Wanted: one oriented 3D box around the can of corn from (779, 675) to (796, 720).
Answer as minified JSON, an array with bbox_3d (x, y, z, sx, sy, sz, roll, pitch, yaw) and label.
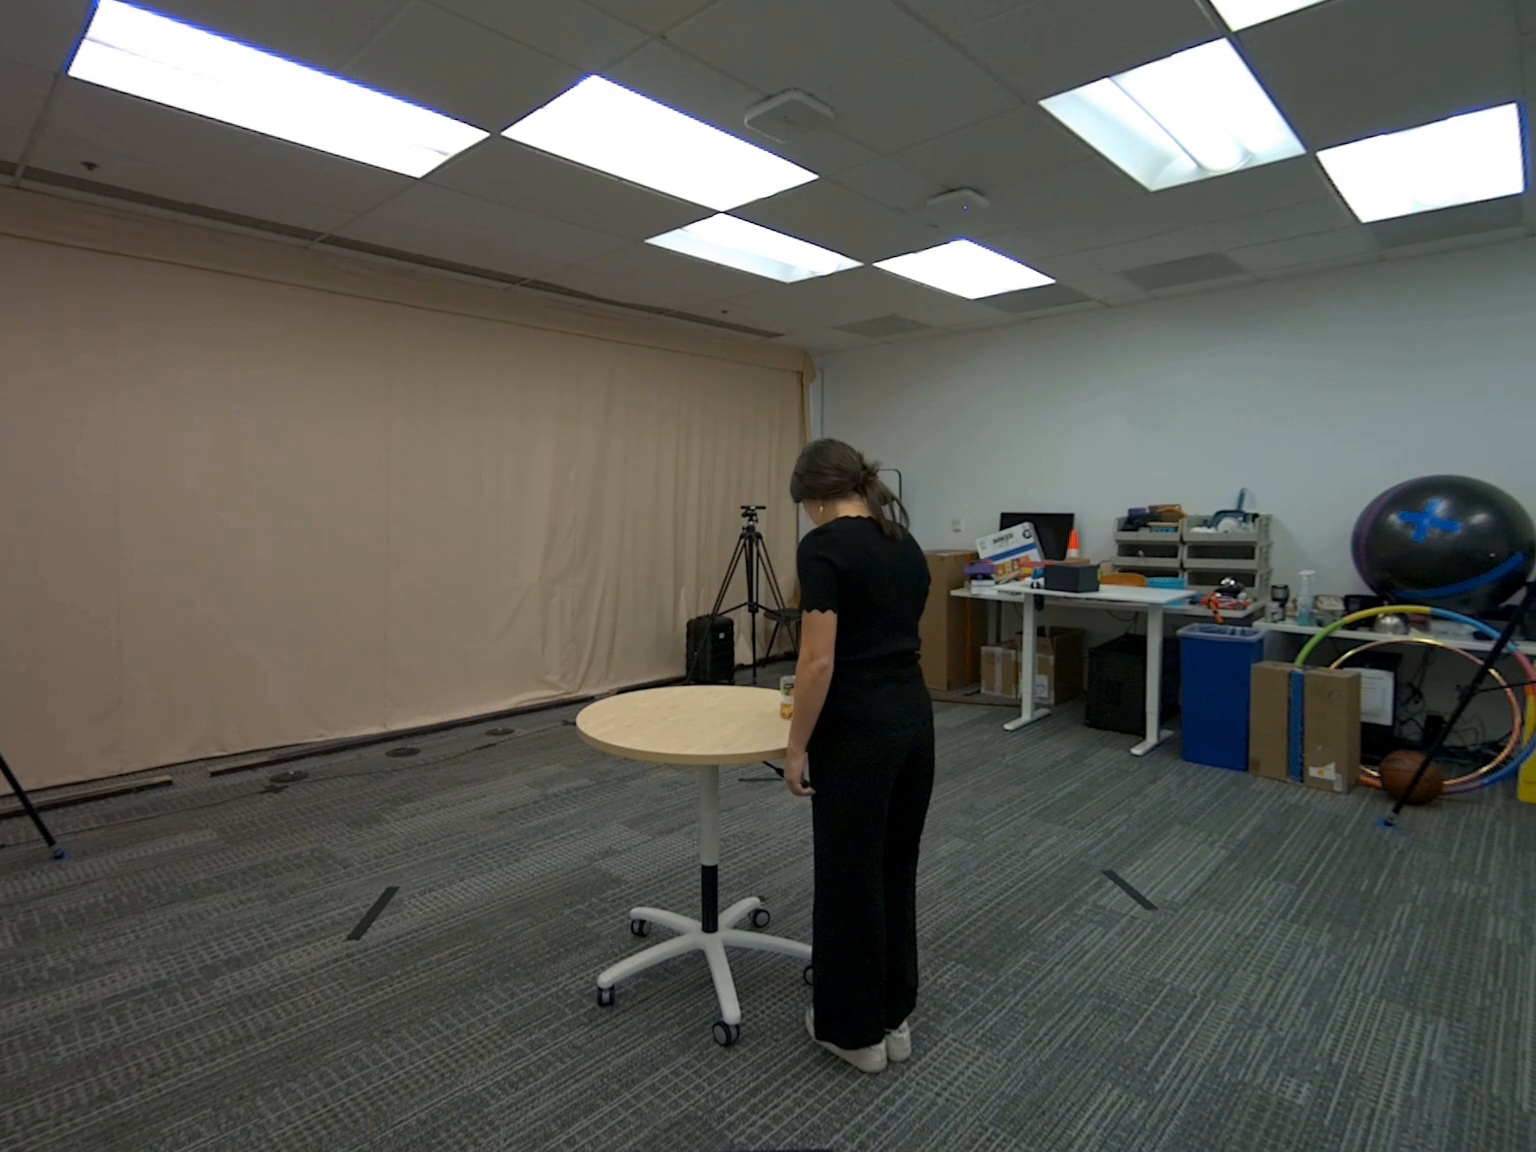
[{"bbox_3d":[0.079,0.354,2.427,0.074,0.110,0.074,2,6,-2],"label":"can of corn"}]
